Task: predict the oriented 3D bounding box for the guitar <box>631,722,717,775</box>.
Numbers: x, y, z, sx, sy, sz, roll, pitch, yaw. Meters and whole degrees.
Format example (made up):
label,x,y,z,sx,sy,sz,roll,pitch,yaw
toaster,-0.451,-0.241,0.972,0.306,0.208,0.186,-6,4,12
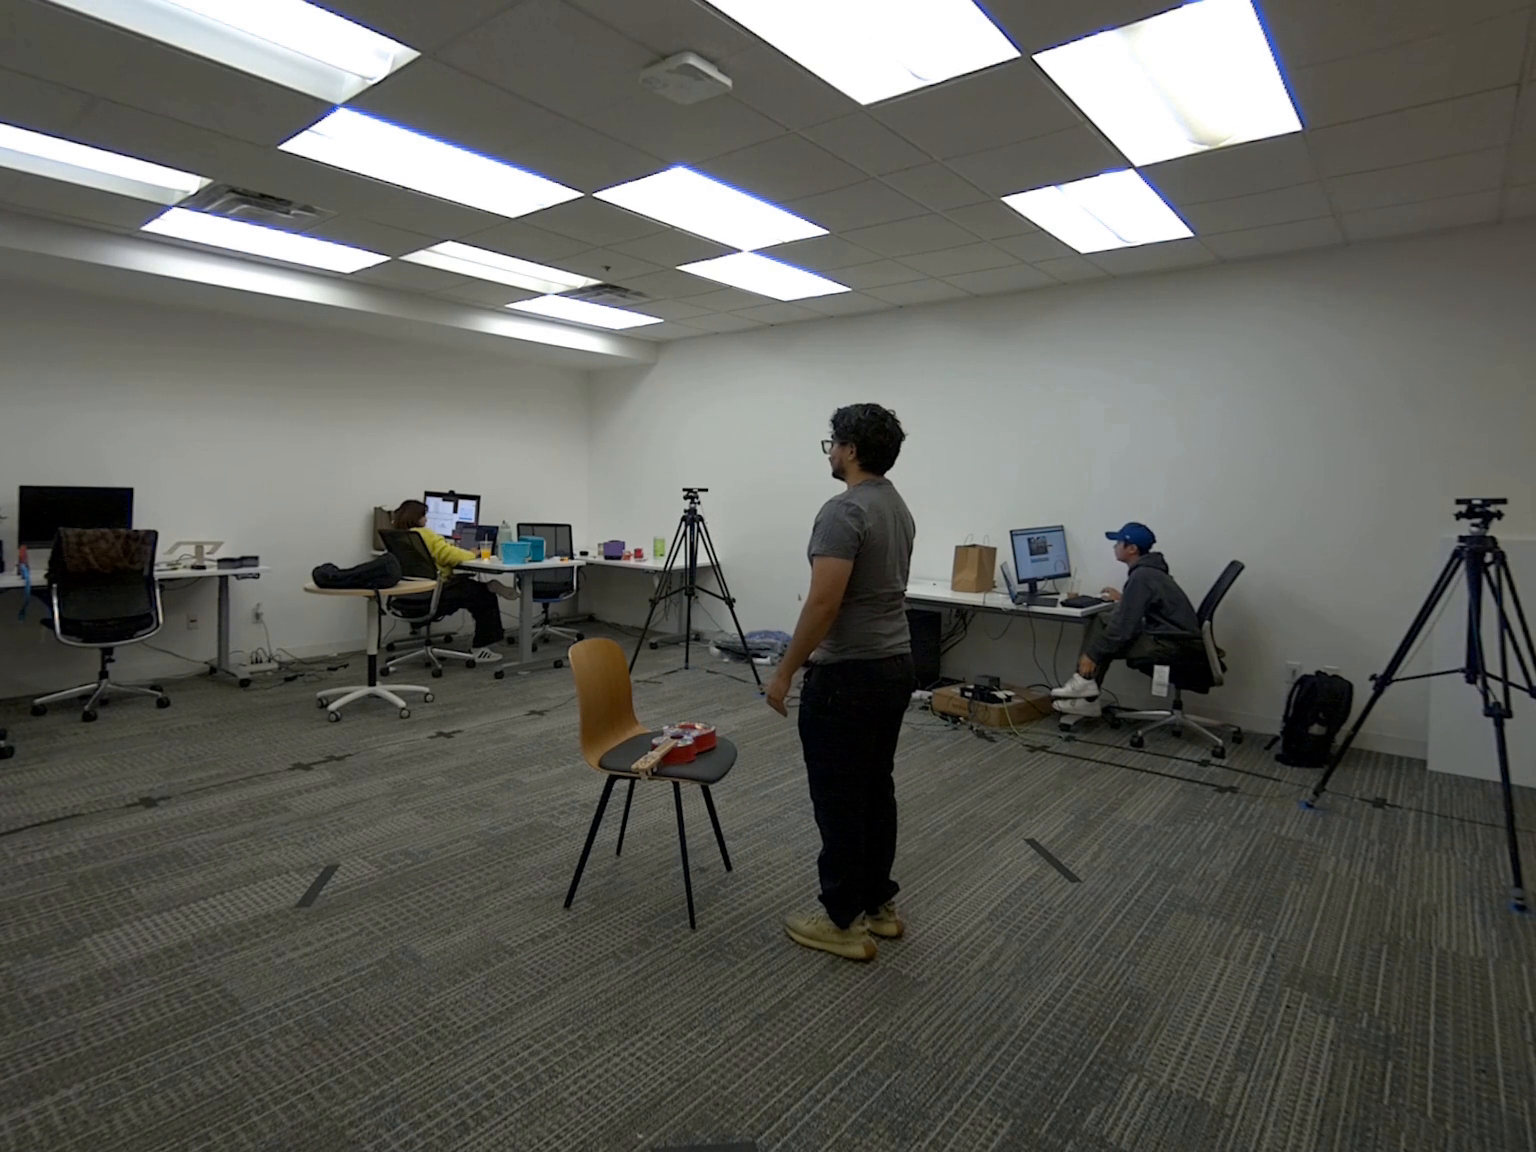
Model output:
label,x,y,z,sx,sy,sz,roll,pitch,yaw
guitar,-0.368,0.581,2.835,0.198,0.070,0.487,2,7,25
